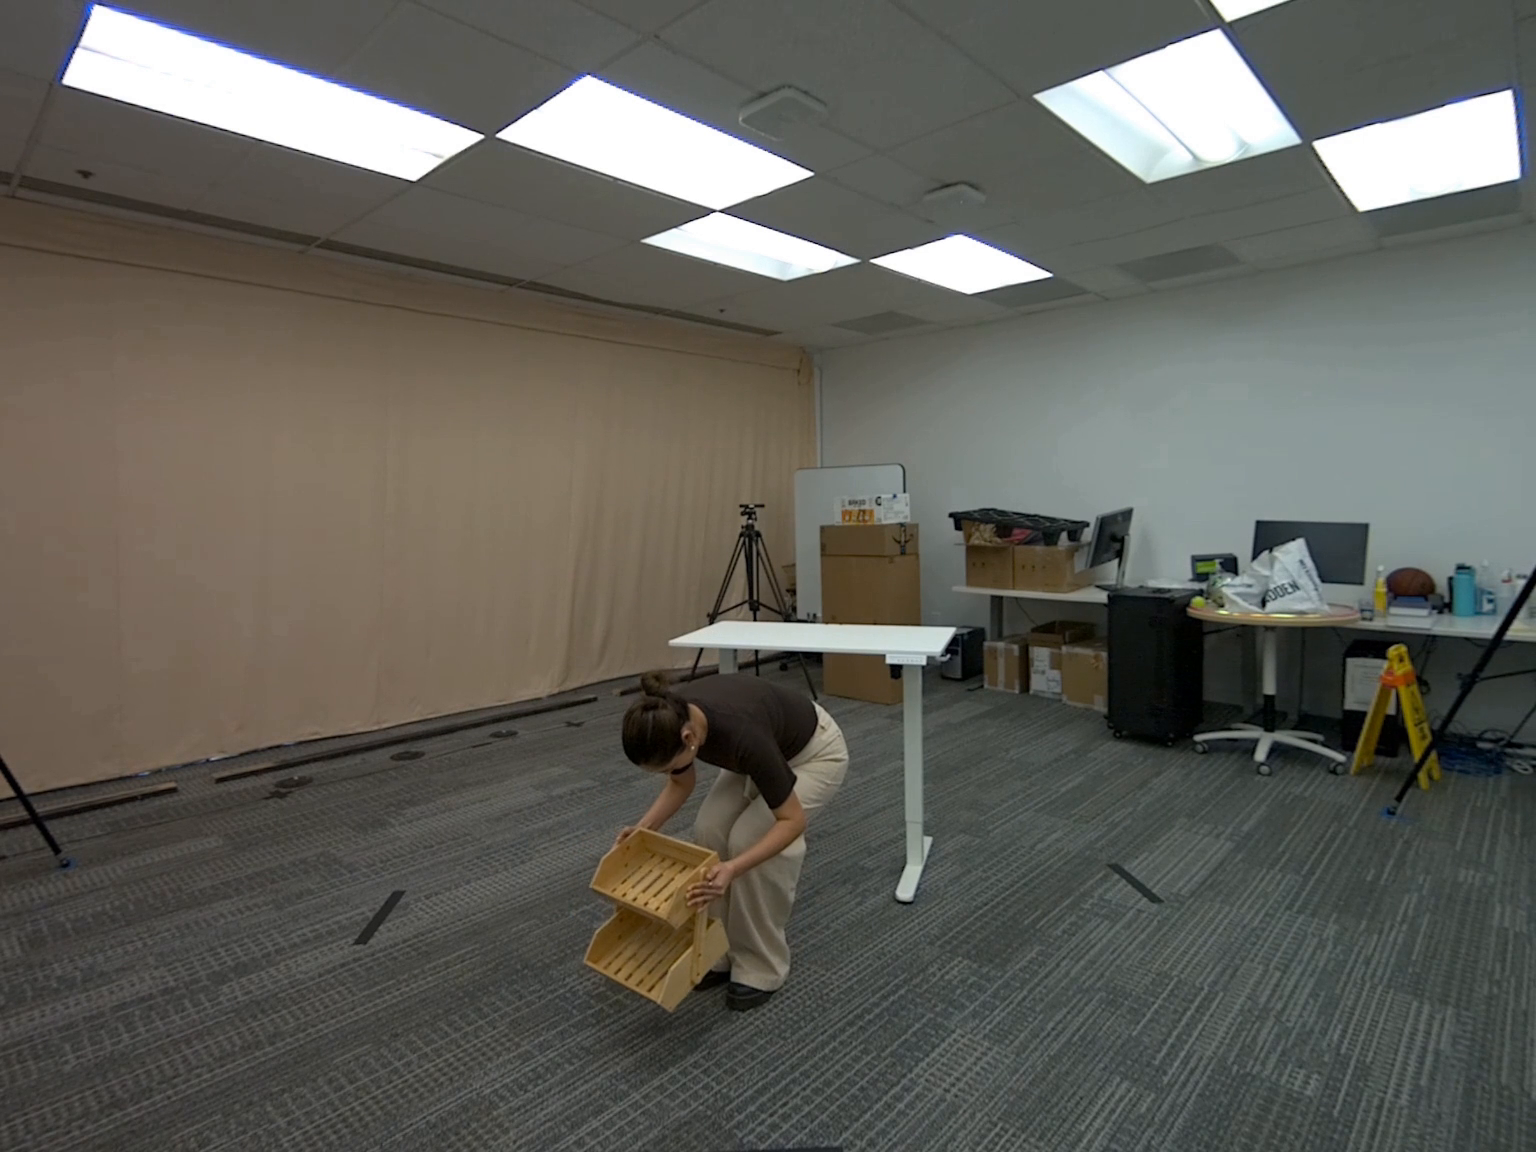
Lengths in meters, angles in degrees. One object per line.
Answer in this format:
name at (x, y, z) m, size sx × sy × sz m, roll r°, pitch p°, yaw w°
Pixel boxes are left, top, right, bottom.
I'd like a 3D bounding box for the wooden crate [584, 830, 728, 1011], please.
wooden crate at (-0.305, 0.883, 2.187) m, size 0.335 × 0.270 × 0.296 m, roll 0°, pitch 21°, yaw 41°
